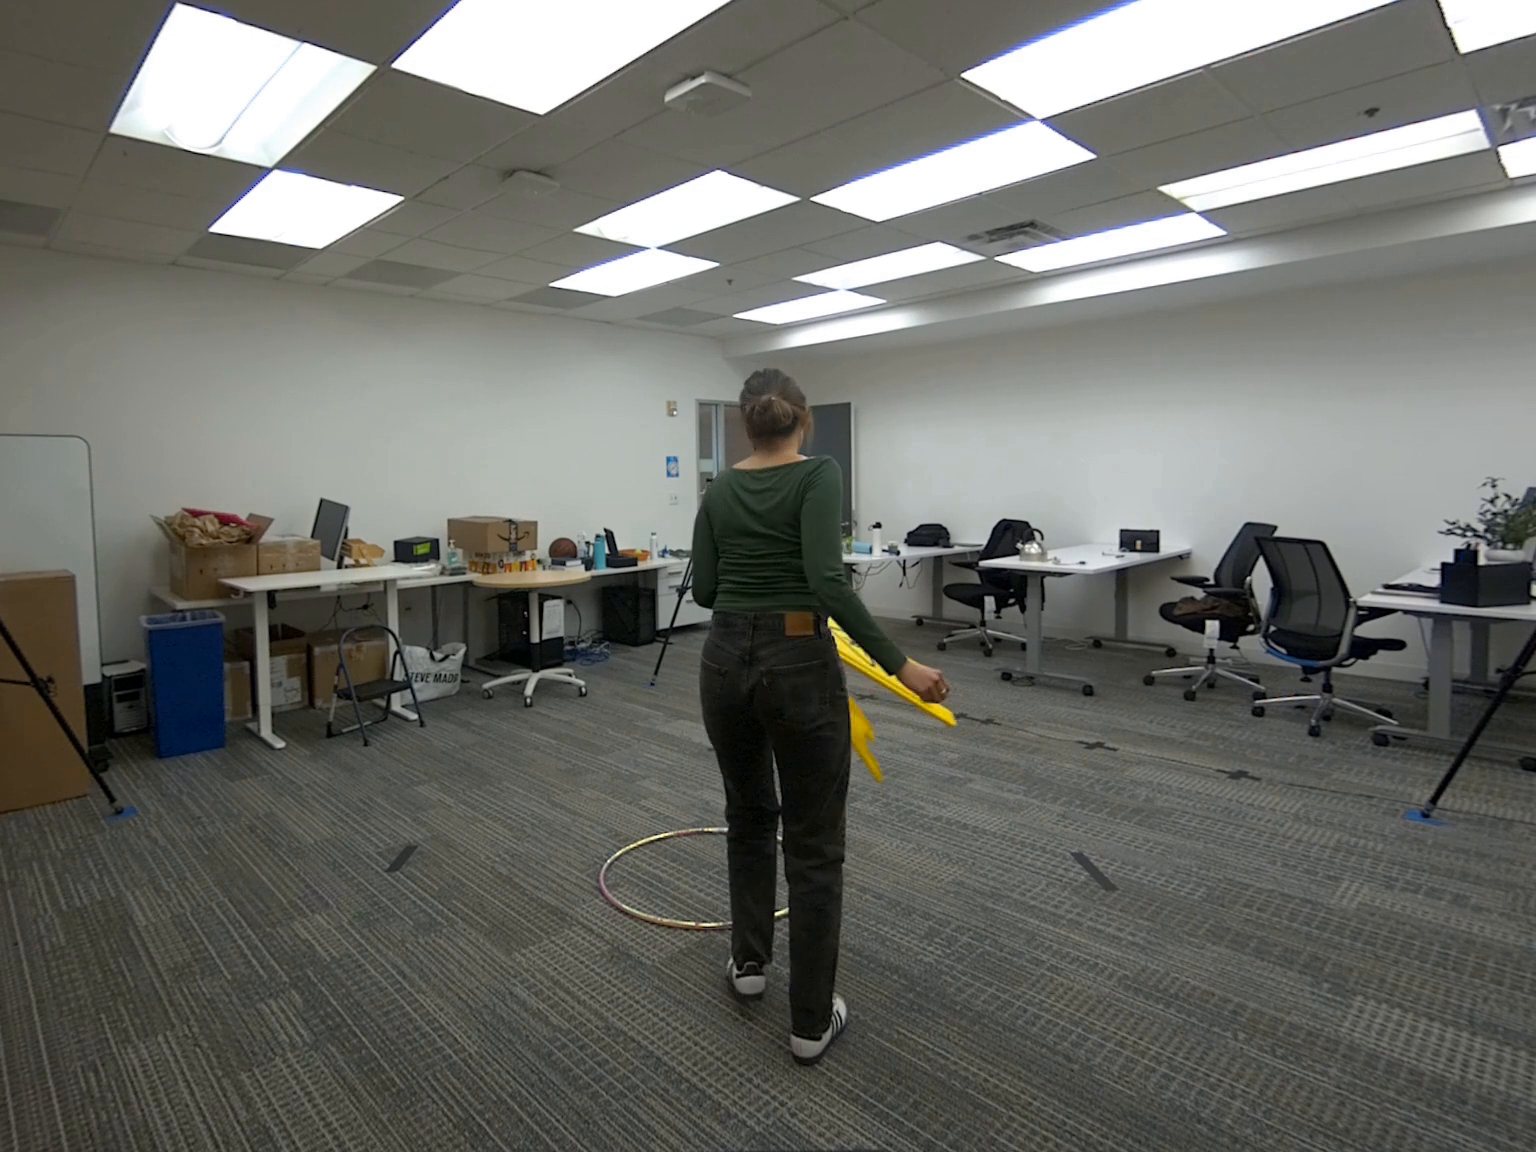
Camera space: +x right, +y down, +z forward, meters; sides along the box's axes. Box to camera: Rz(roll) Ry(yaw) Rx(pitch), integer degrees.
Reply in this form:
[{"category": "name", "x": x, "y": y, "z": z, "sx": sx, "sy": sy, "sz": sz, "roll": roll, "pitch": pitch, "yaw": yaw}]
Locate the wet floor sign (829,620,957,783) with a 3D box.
[{"category": "wet floor sign", "x": 0.198, "y": 0.272, "z": 2.561, "sx": 0.290, "sy": 0.634, "sz": 0.287, "roll": -42, "pitch": 16, "yaw": 16}]
